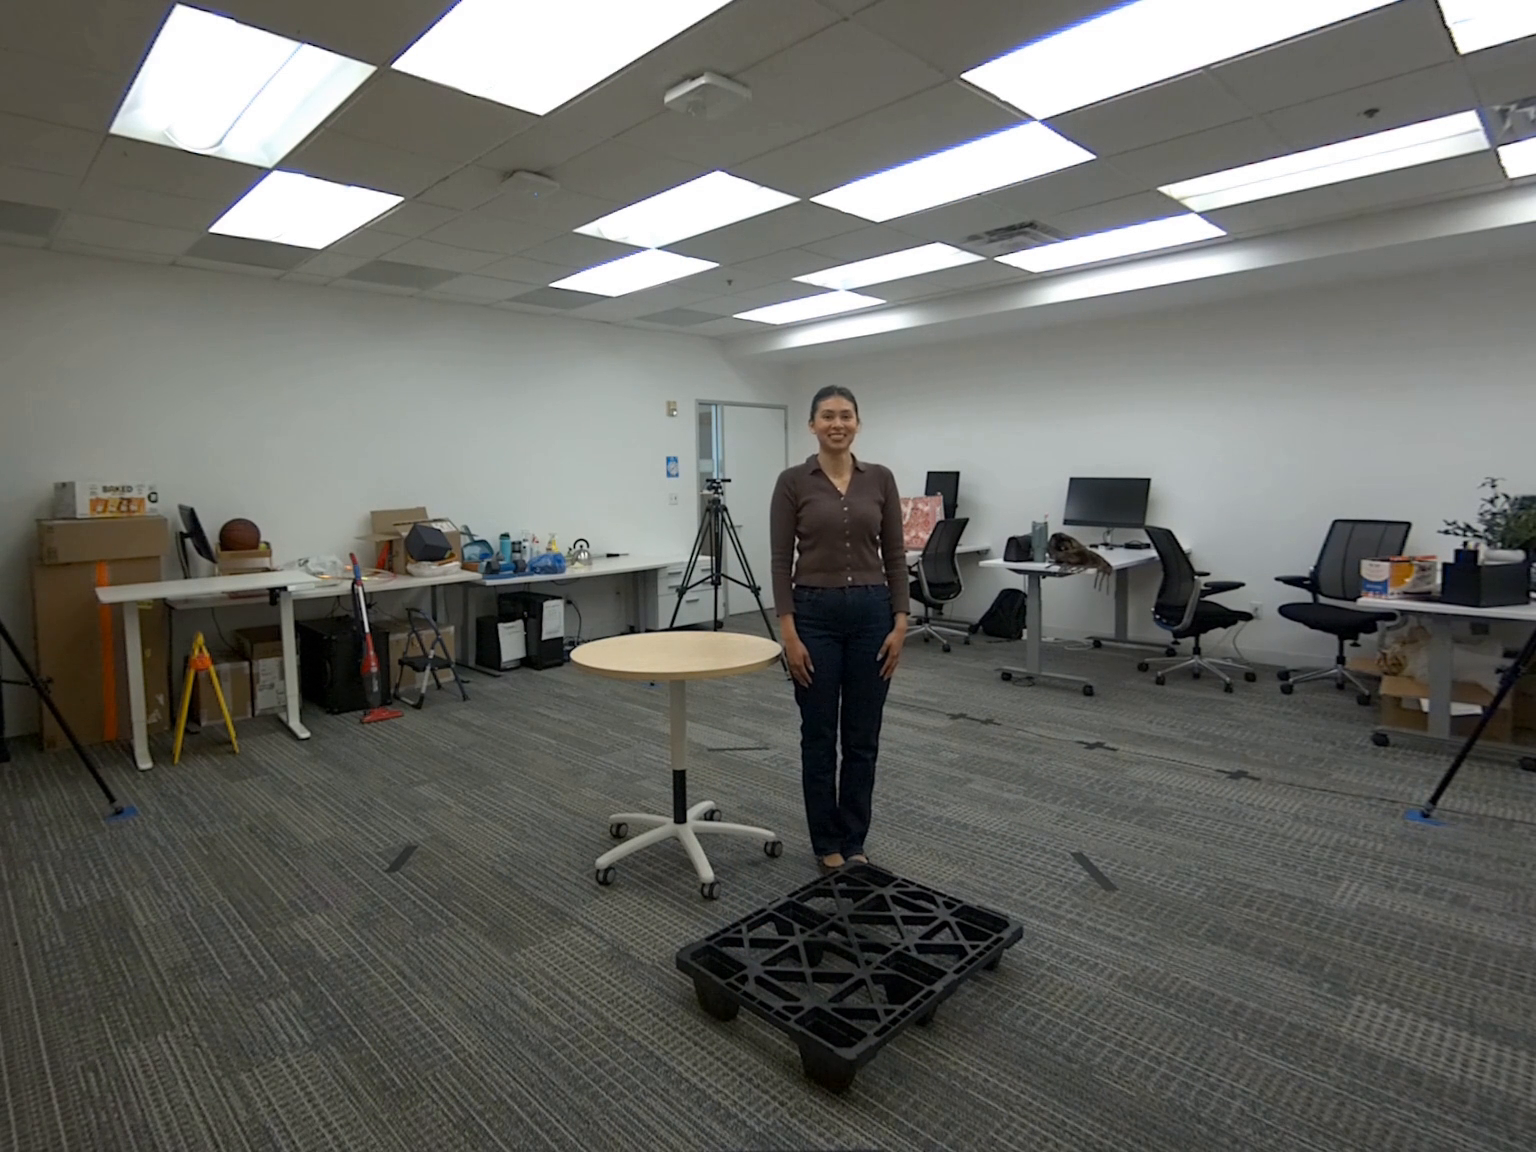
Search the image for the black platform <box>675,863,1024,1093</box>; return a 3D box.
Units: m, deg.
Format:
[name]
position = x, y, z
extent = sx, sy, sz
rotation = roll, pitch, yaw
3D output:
[black platform]
position = 0.235, 1.063, 2.346
extent = 0.624, 0.142, 0.785
rotation = 5, 9, 45
